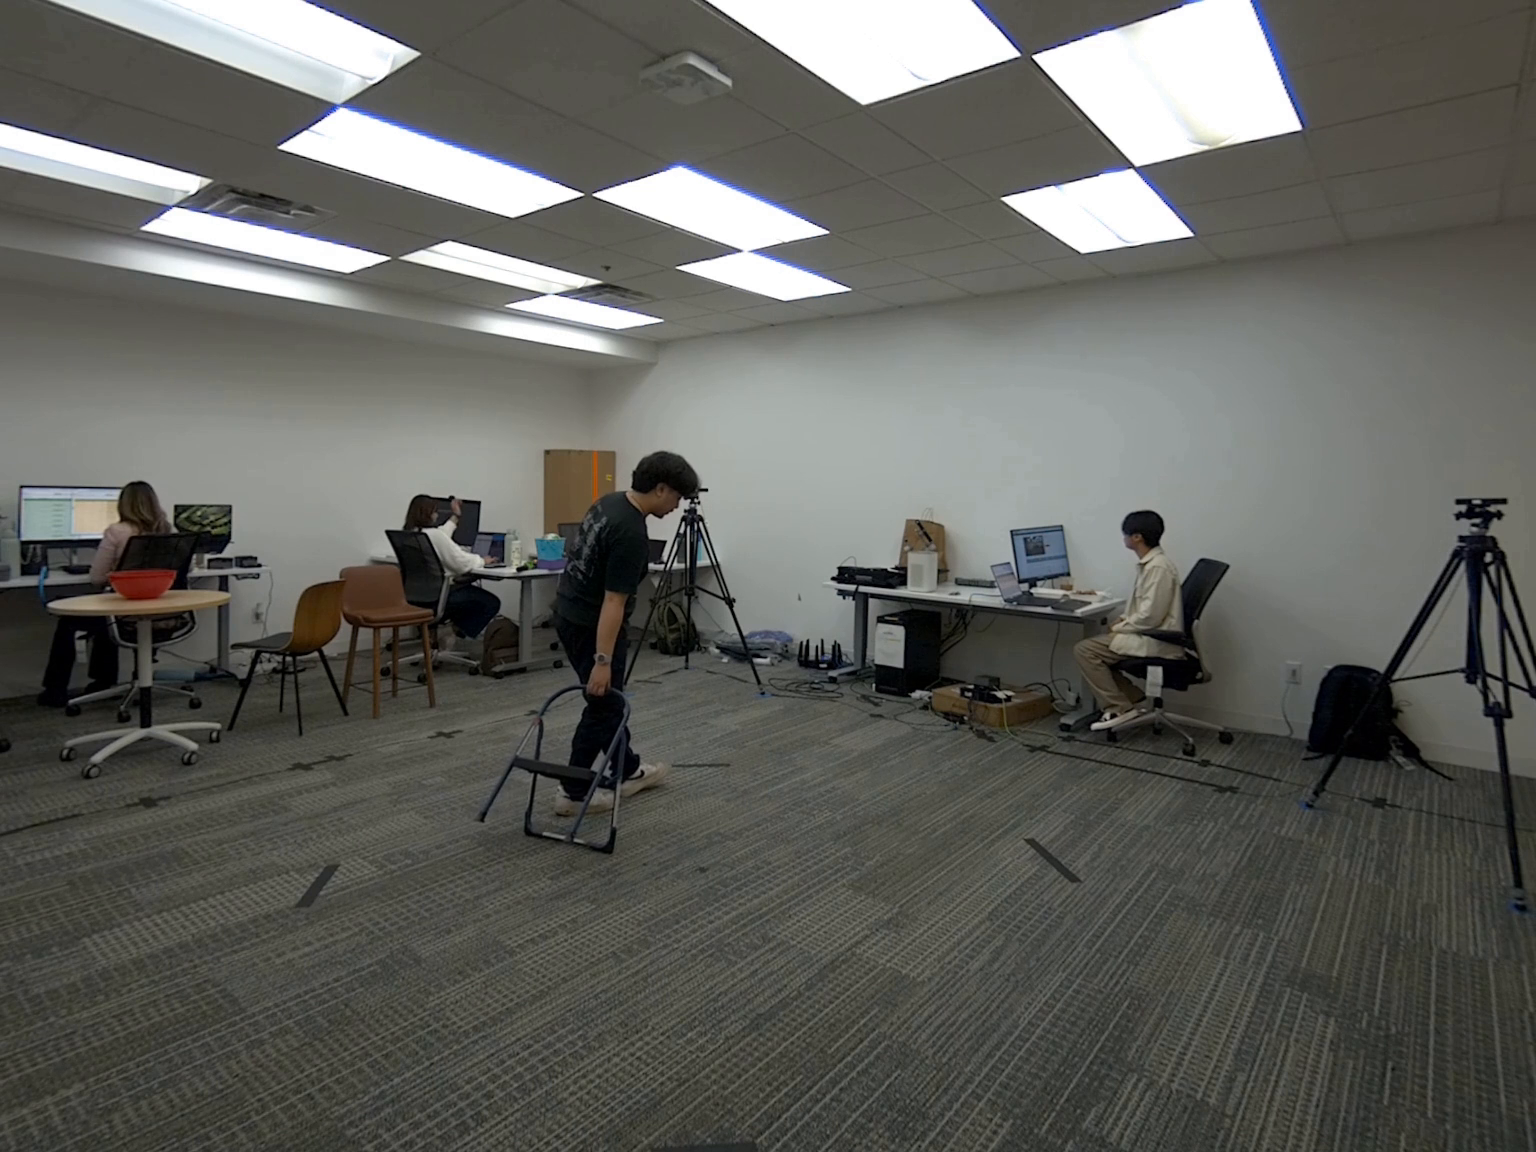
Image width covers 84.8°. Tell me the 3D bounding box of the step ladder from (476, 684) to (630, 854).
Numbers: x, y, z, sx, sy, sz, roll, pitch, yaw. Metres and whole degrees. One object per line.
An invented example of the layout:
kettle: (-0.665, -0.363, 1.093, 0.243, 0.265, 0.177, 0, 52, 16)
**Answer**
step ladder: (-0.787, 0.703, 3.294, 0.441, 0.615, 0.336, 3, -24, 24)
